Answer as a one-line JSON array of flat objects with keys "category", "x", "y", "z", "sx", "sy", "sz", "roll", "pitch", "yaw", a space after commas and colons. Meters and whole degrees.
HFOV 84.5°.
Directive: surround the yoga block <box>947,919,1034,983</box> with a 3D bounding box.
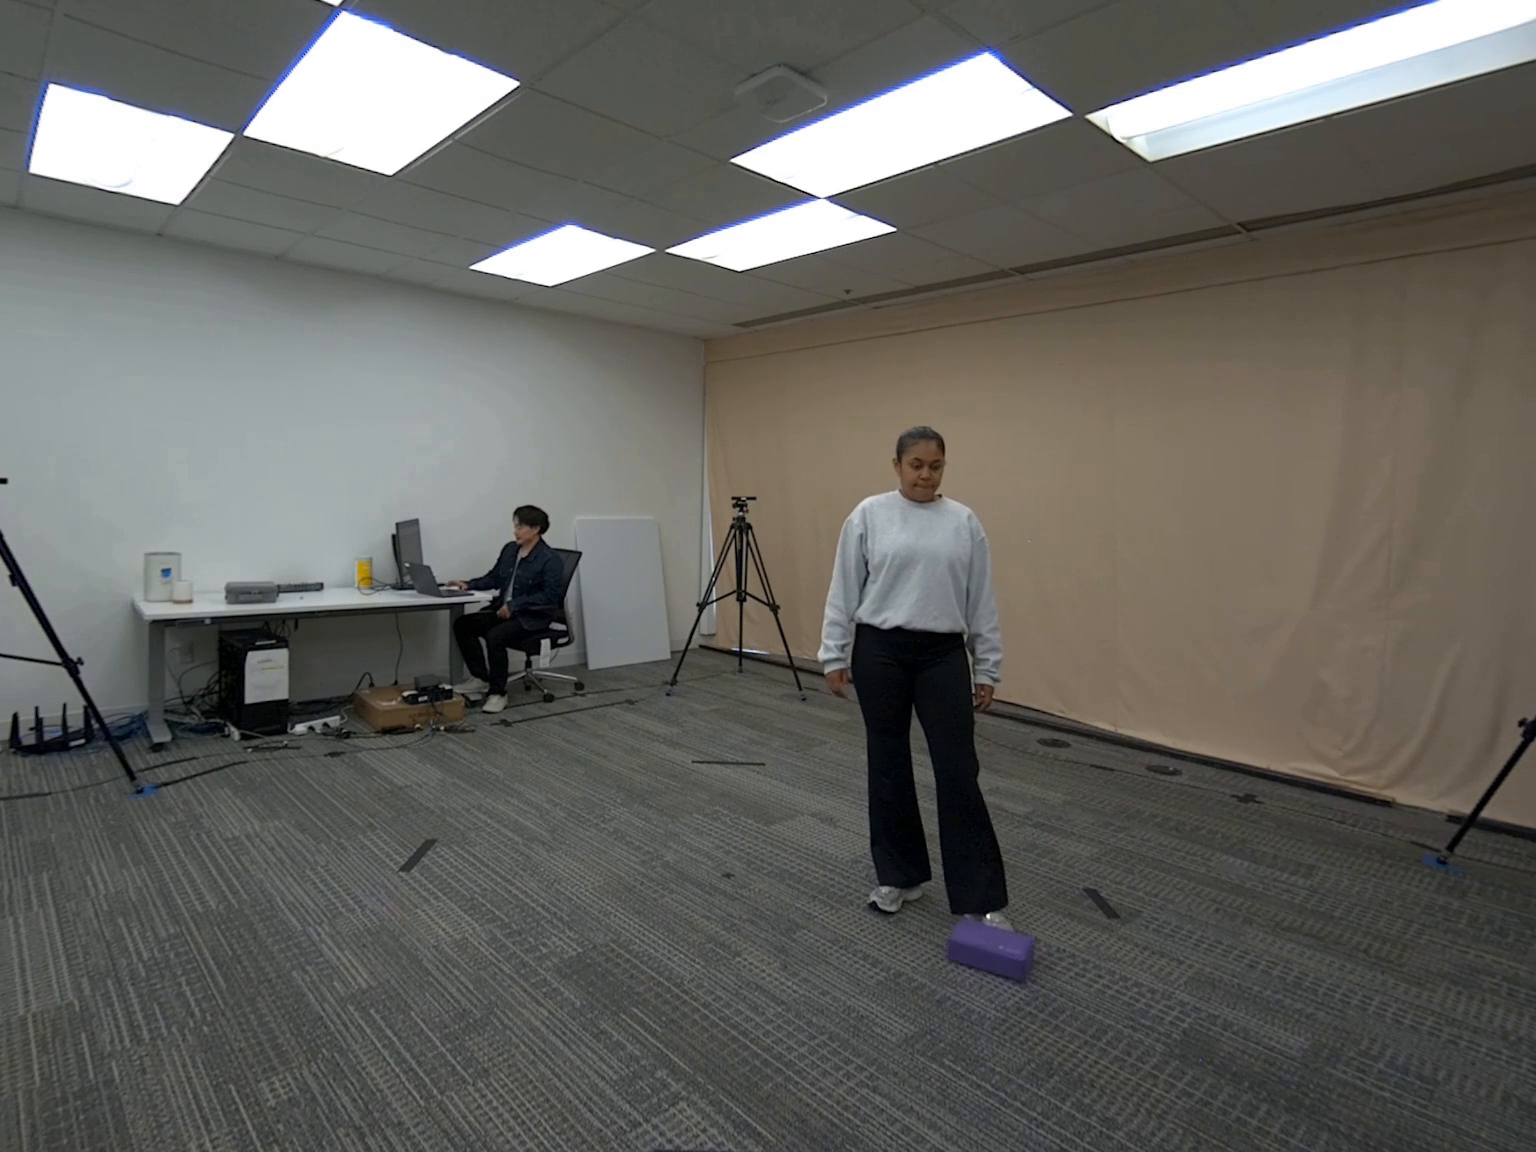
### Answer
[{"category": "yoga block", "x": 0.667, "y": 1.134, "z": 2.573, "sx": 0.234, "sy": 0.076, "sz": 0.146, "roll": 2, "pitch": 5, "yaw": 30}]
